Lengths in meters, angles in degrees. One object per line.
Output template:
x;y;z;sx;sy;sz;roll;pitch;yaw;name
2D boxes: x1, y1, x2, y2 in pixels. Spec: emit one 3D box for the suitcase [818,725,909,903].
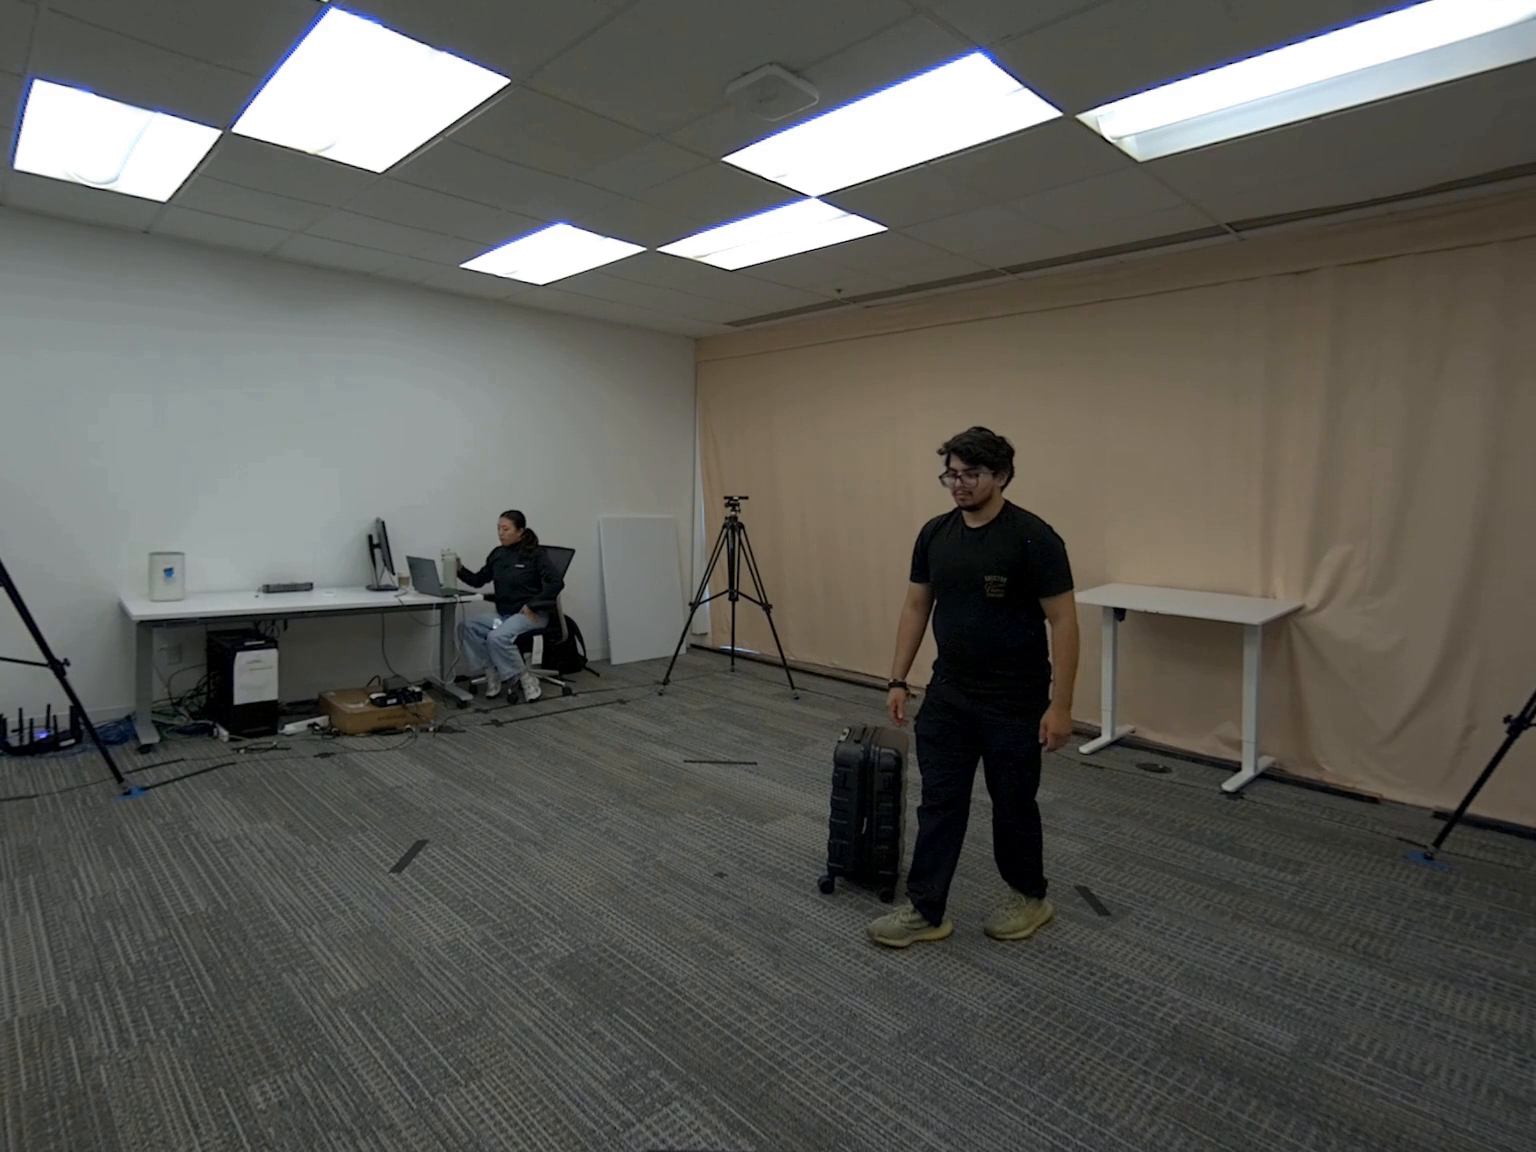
0.365;0.841;3.089;0.251;0.548;0.372;5;4;14;suitcase
